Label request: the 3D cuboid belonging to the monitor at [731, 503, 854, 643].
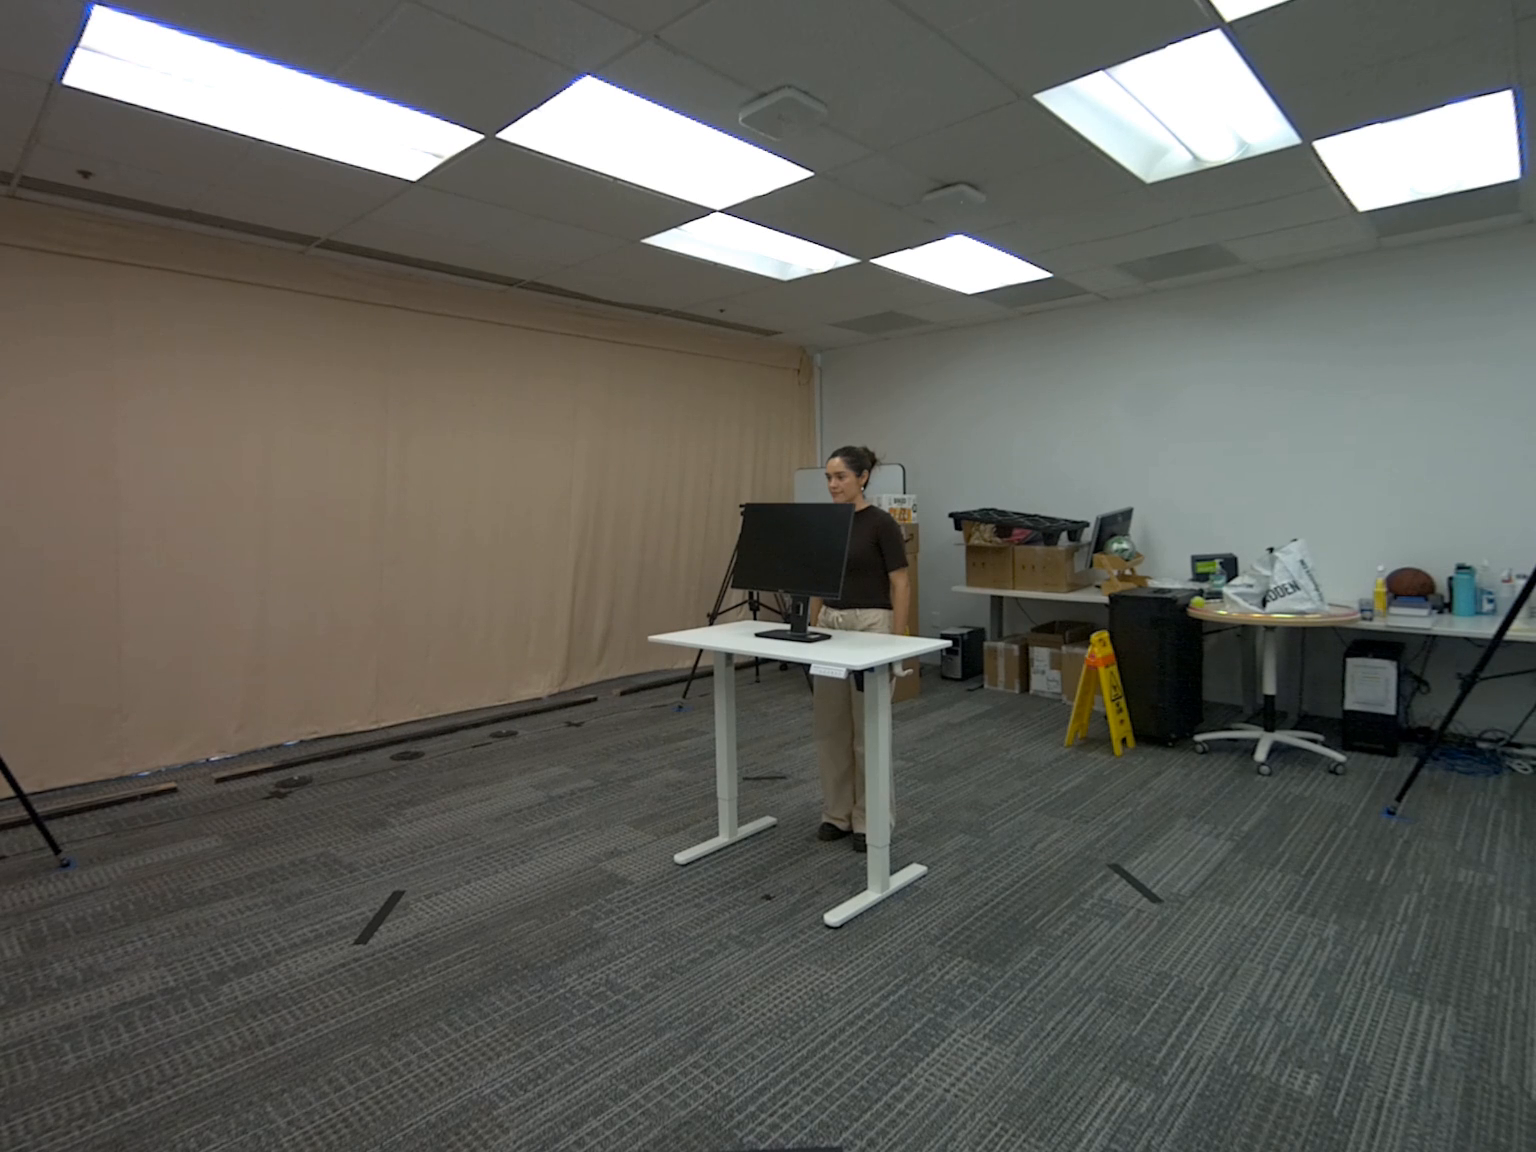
[{"bbox_3d":[0.106,-0.018,3.214,0.557,0.522,0.181,3,4,42],"label":"monitor"}]
